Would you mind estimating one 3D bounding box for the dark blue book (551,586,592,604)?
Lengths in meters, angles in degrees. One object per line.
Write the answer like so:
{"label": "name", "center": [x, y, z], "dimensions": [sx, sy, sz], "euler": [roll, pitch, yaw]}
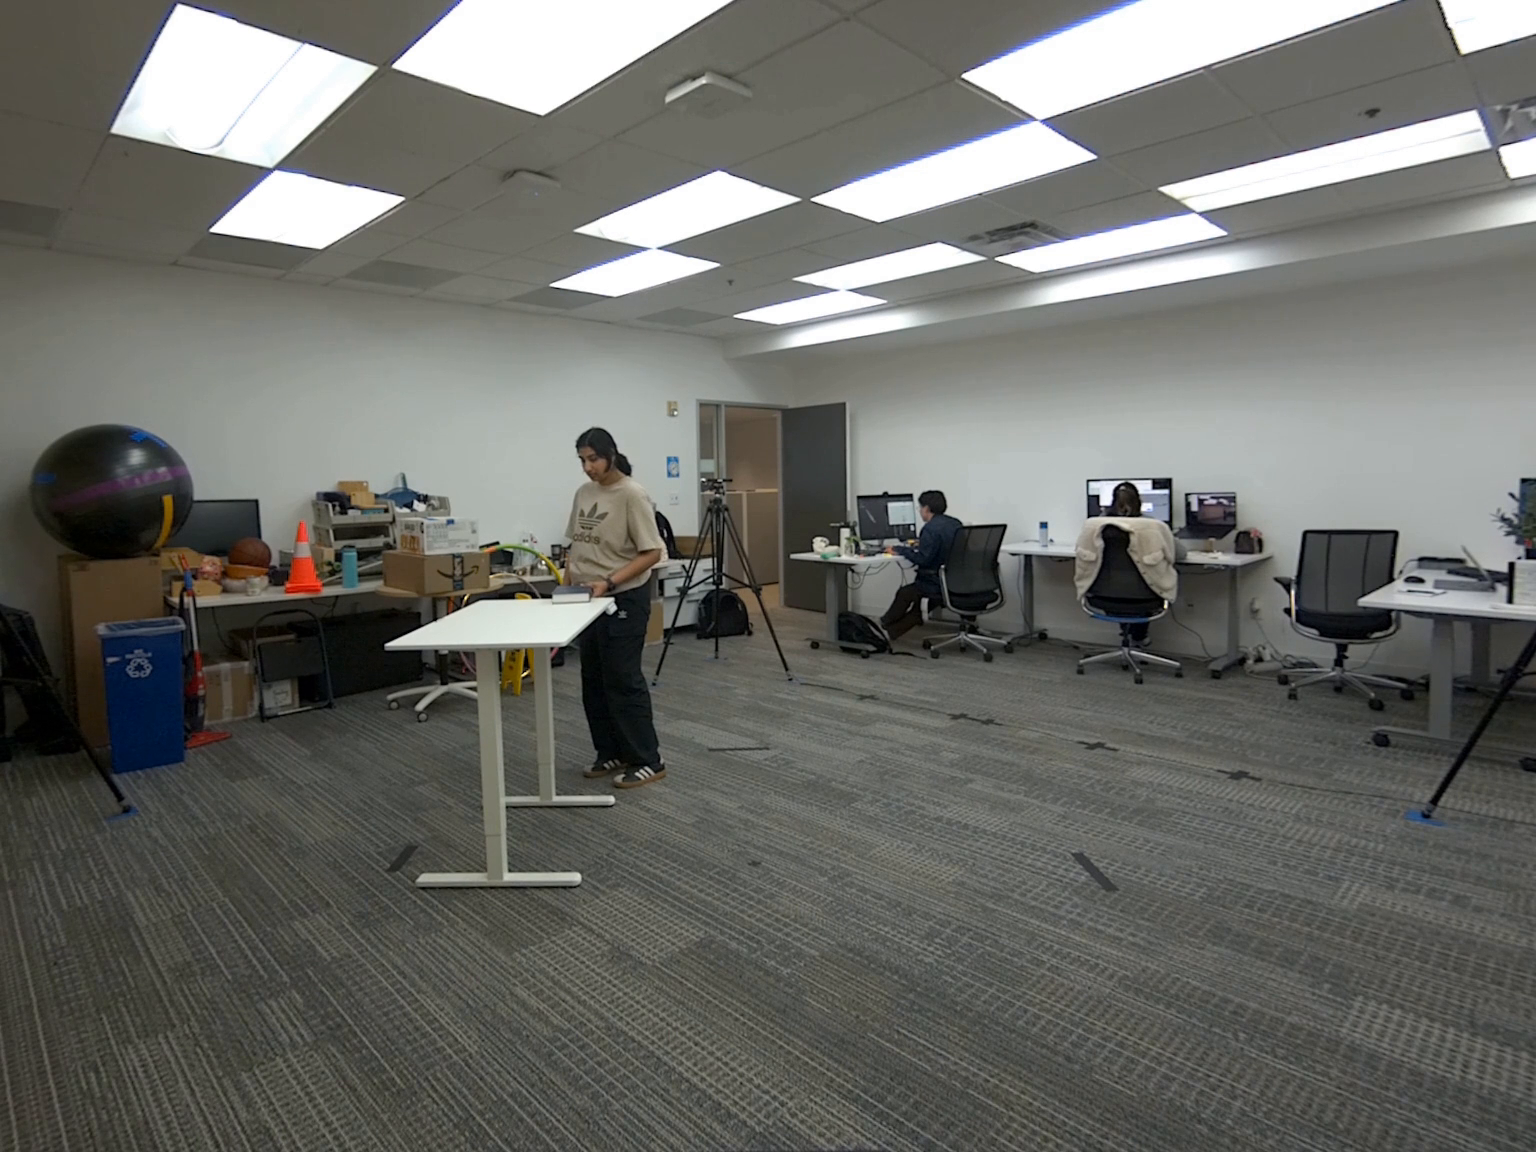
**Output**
{"label": "dark blue book", "center": [-0.875, 0.081, 3.764], "dimensions": [0.162, 0.045, 0.248], "euler": [-2, 7, -9]}
